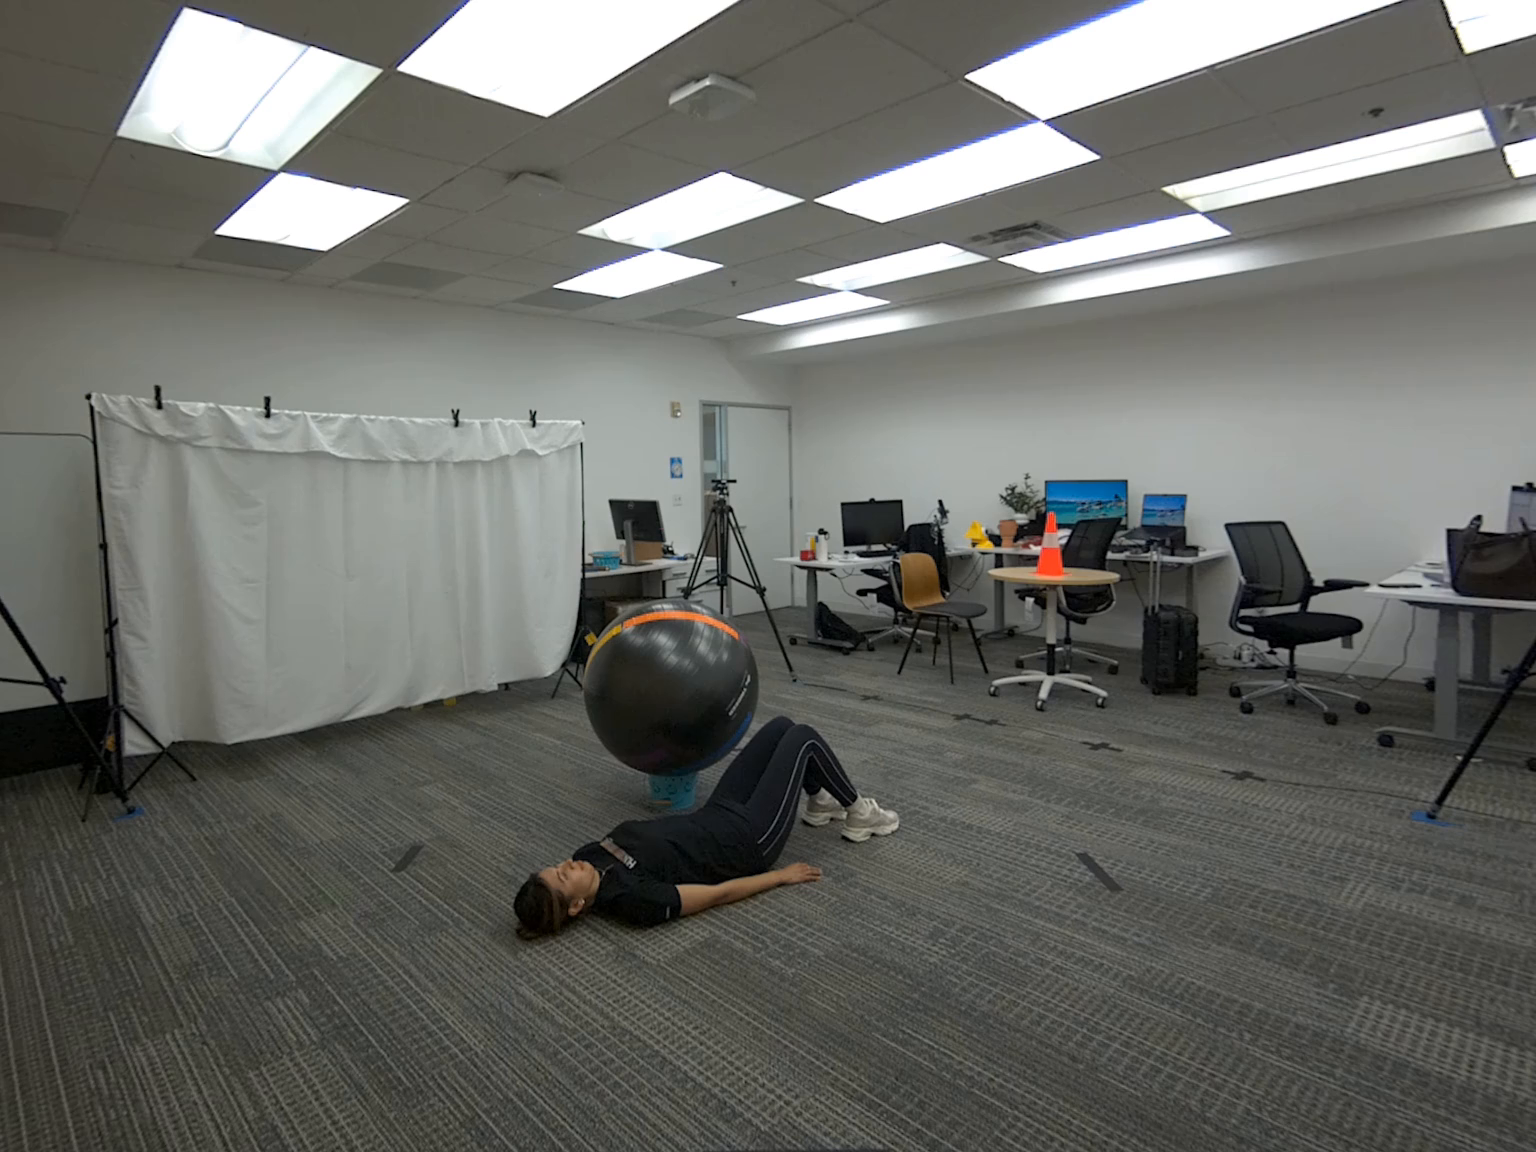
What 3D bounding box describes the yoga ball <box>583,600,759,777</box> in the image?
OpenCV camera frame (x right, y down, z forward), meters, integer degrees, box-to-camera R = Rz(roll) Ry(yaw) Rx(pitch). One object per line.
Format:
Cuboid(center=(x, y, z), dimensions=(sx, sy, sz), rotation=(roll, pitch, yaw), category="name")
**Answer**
Cuboid(center=(-0.424, 0.484, 3.709), dimensions=(0.757, 0.757, 0.759), rotation=(0, 1, -2), category="yoga ball")
